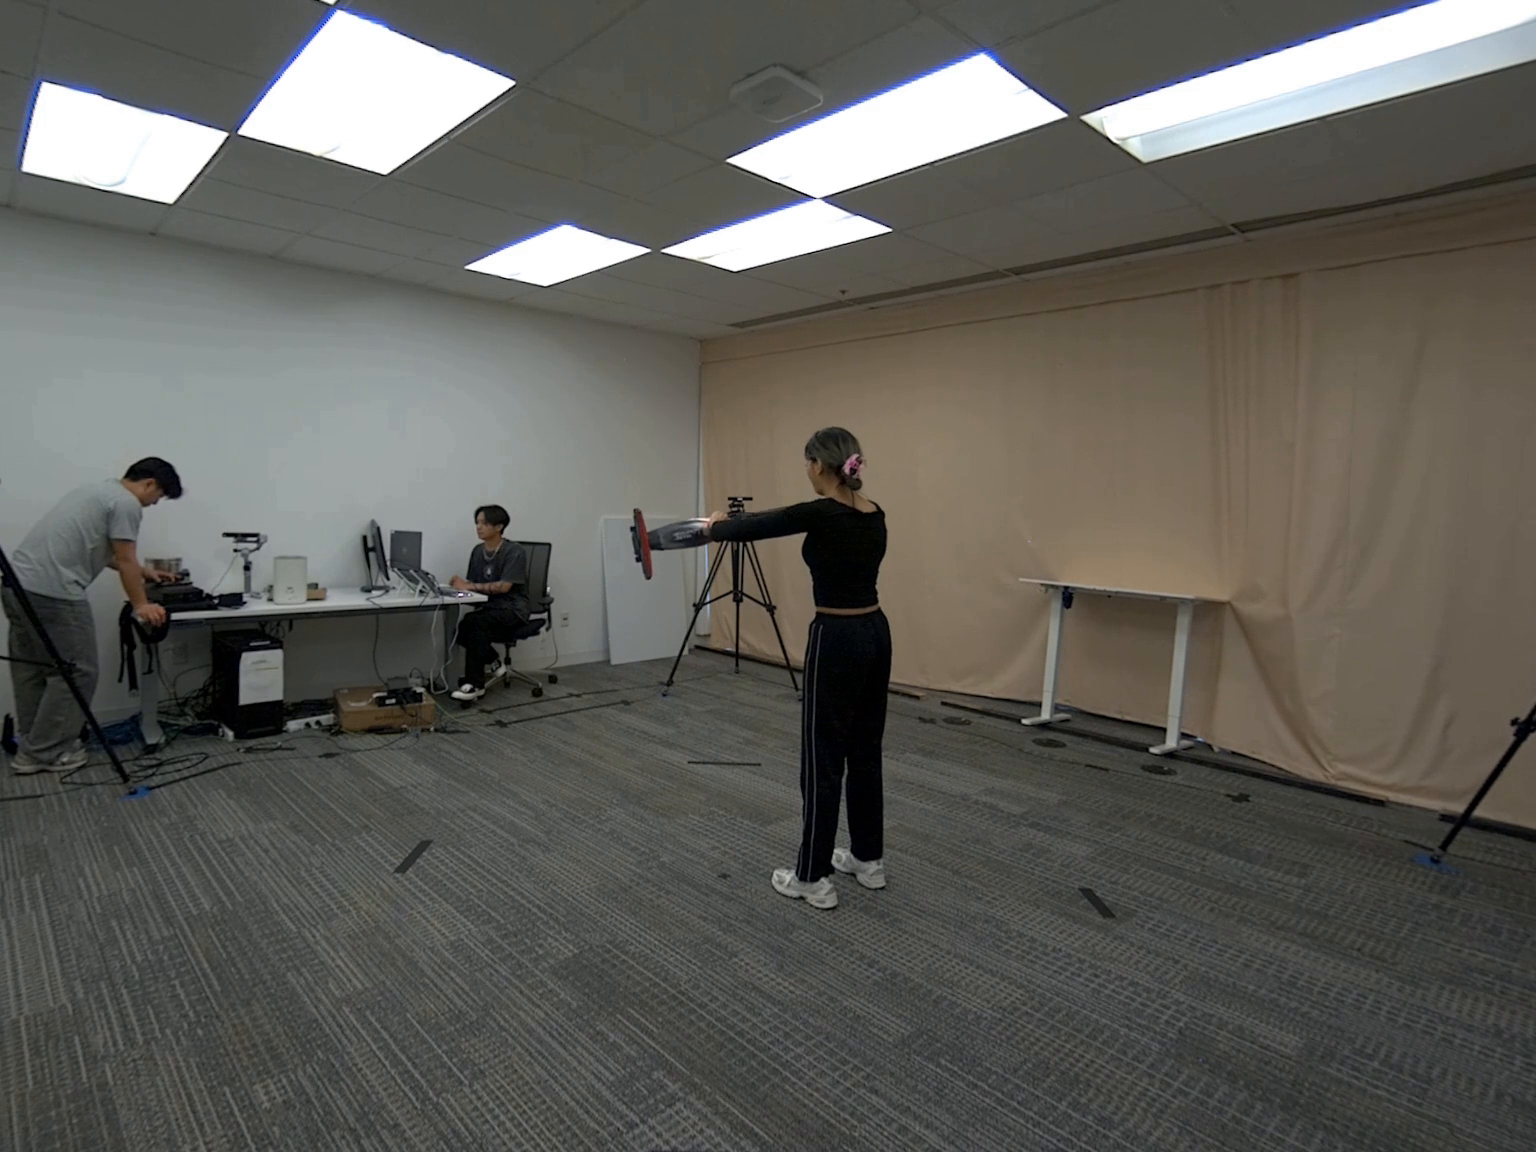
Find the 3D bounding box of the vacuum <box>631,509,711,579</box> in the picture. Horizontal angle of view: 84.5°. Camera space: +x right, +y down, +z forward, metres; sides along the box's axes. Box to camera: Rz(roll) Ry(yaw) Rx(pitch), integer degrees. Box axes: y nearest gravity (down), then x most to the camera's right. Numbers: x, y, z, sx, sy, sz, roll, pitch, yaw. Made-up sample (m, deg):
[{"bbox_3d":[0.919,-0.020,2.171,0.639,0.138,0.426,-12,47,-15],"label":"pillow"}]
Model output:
[{"bbox_3d":[-0.104,-0.199,3.323,1.030,0.252,0.147,-14,3,-43],"label":"vacuum"}]
